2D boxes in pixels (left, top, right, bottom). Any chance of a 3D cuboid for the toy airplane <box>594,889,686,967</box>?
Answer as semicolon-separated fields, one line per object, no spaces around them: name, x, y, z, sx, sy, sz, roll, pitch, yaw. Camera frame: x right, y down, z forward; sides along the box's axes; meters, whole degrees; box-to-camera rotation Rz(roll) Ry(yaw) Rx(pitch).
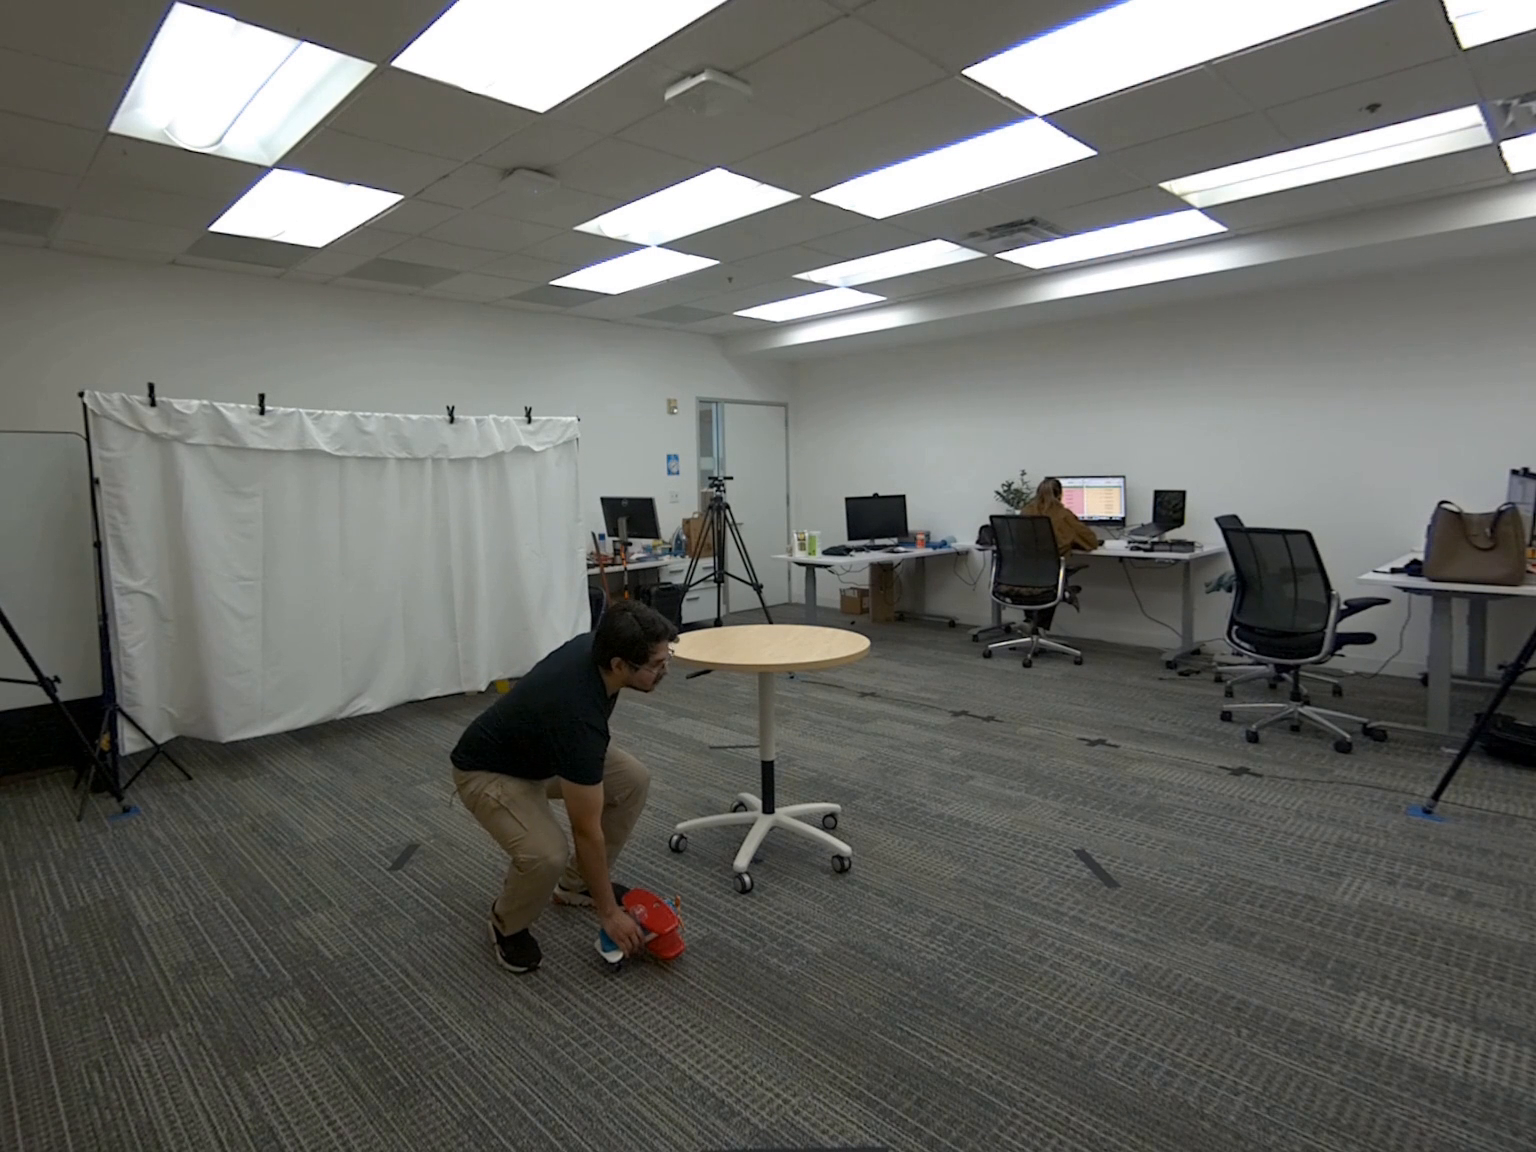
toy airplane;-0.349;1.039;2.471;0.257;0.156;0.253;4;5;28
